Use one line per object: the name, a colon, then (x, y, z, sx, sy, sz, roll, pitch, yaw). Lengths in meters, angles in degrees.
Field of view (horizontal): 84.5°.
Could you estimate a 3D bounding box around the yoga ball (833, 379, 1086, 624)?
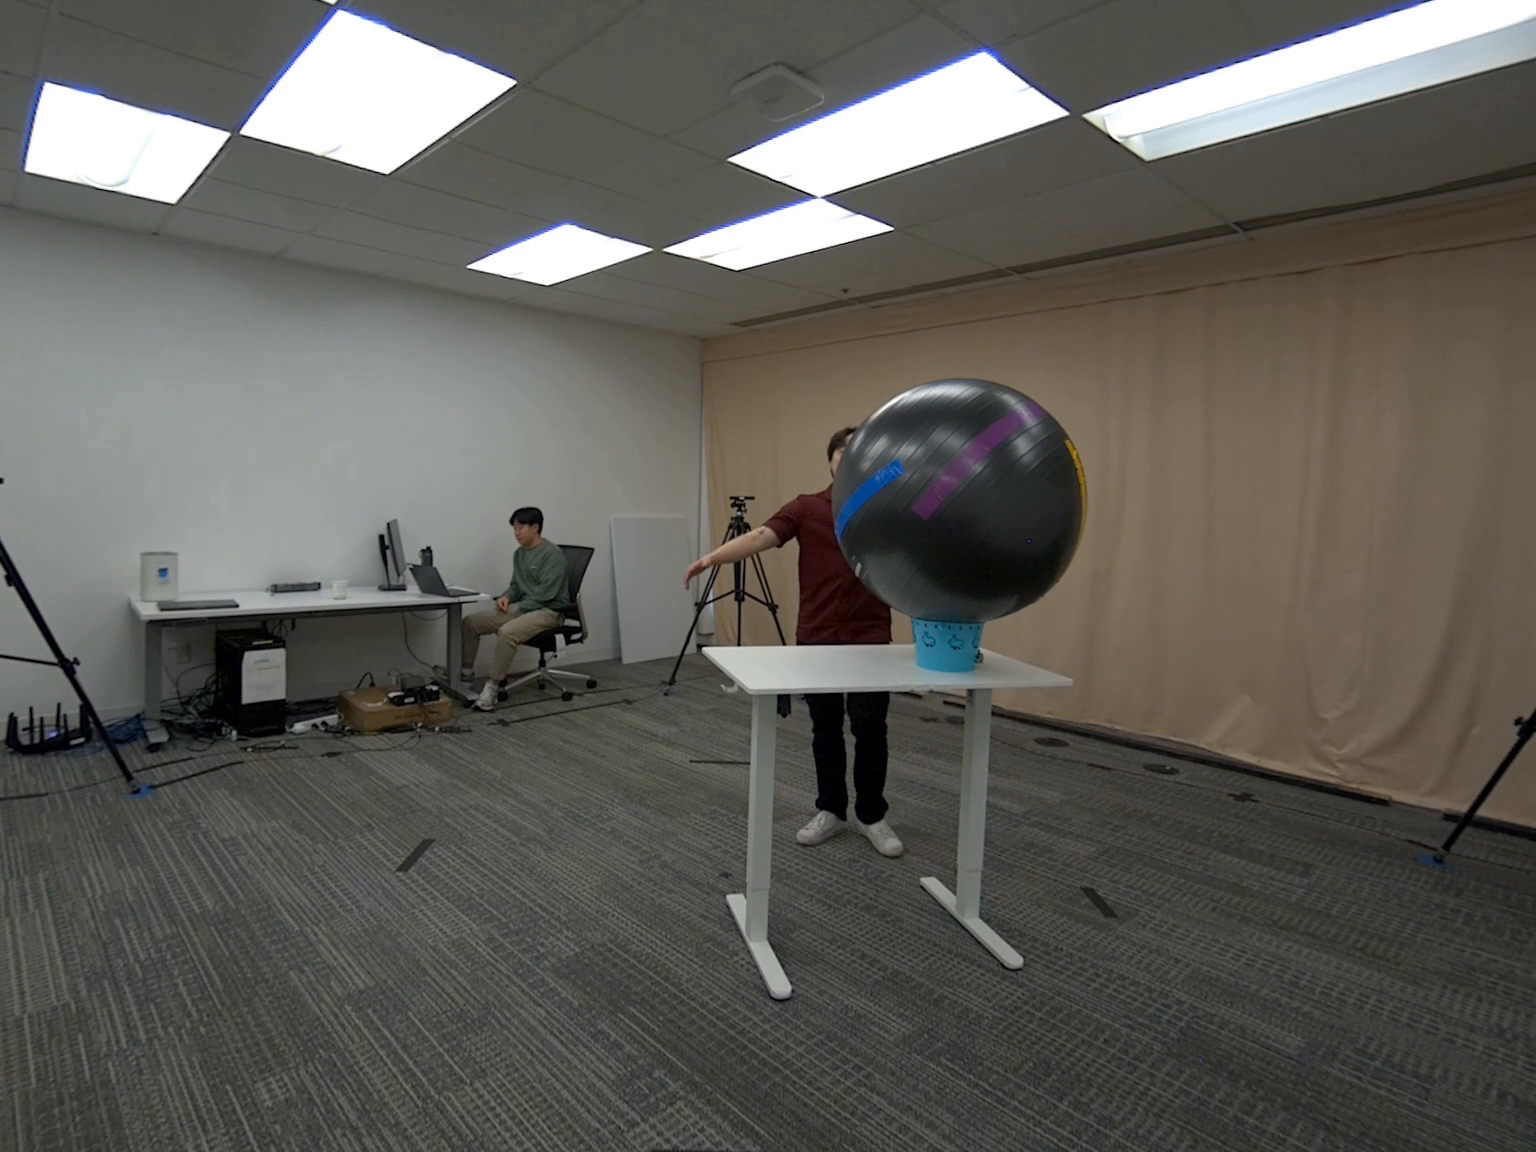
yoga ball: (0.581, -0.220, 2.608, 0.757, 0.756, 0.760, 1, 4, -1)
